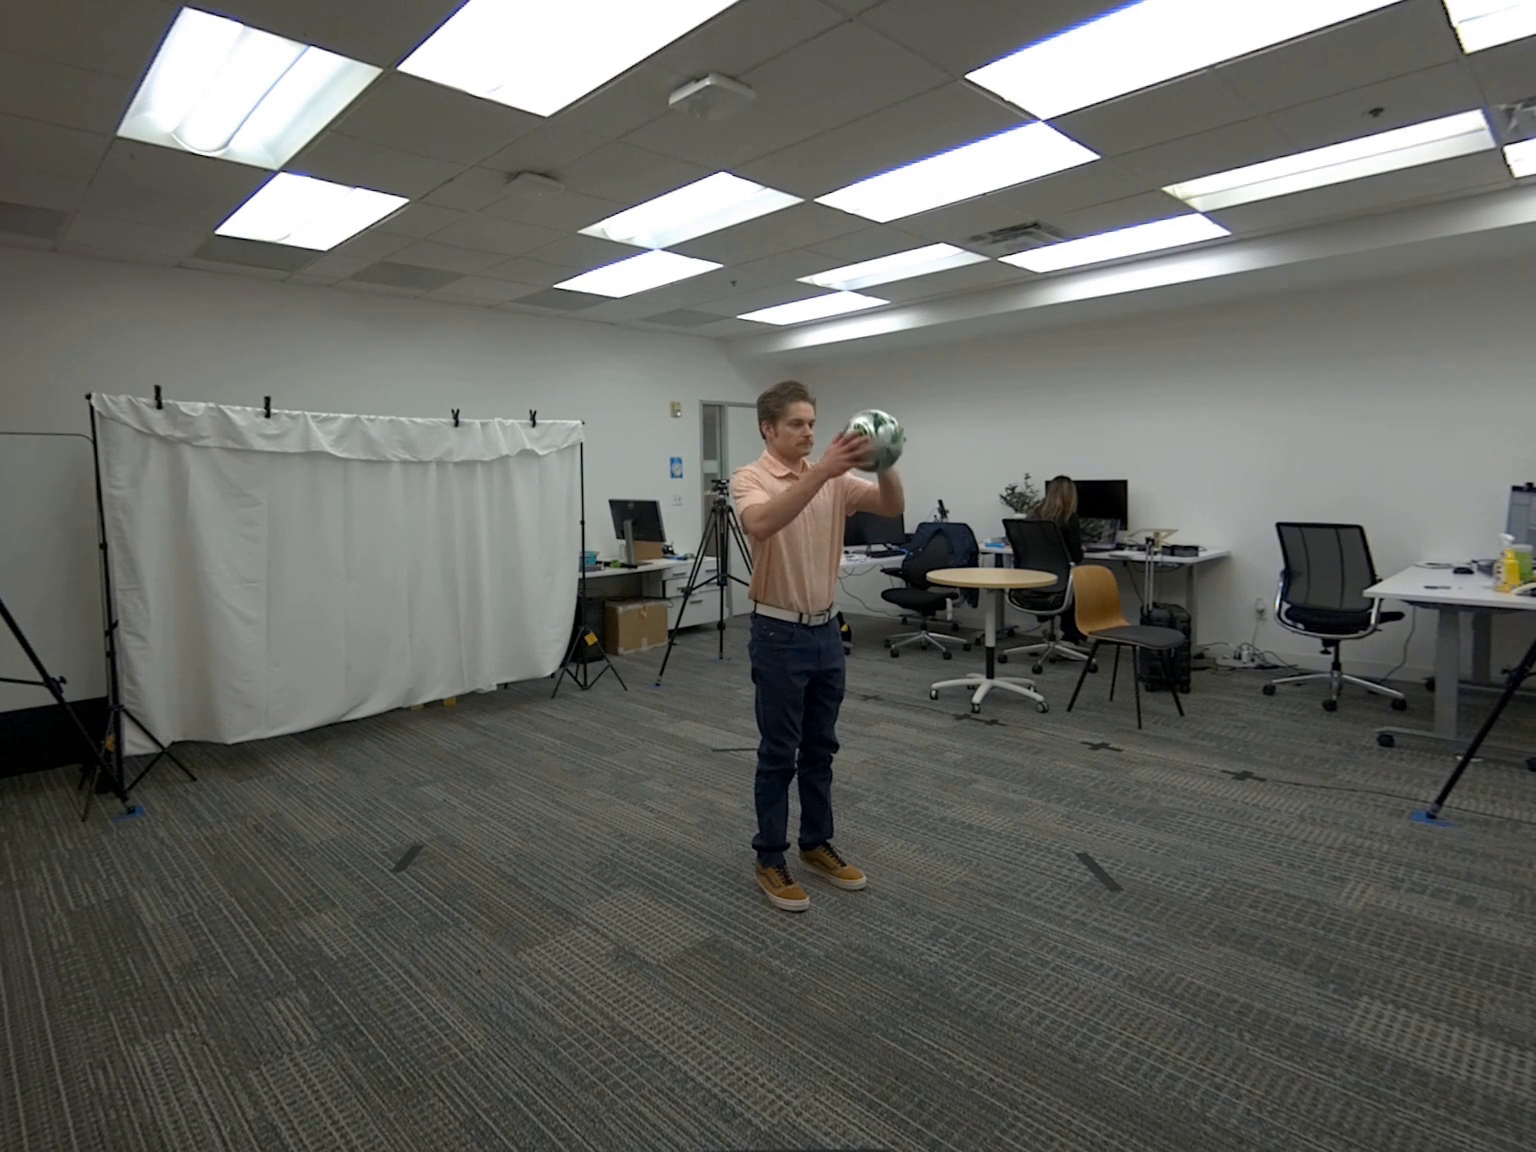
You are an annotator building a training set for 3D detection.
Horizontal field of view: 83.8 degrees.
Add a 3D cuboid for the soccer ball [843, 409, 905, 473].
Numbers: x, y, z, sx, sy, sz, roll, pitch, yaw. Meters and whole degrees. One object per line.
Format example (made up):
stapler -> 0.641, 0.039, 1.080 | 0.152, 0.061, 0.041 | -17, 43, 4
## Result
soccer ball -> 0.306, -0.398, 2.580 | 0.187, 0.187, 0.188 | -1, 5, -2
